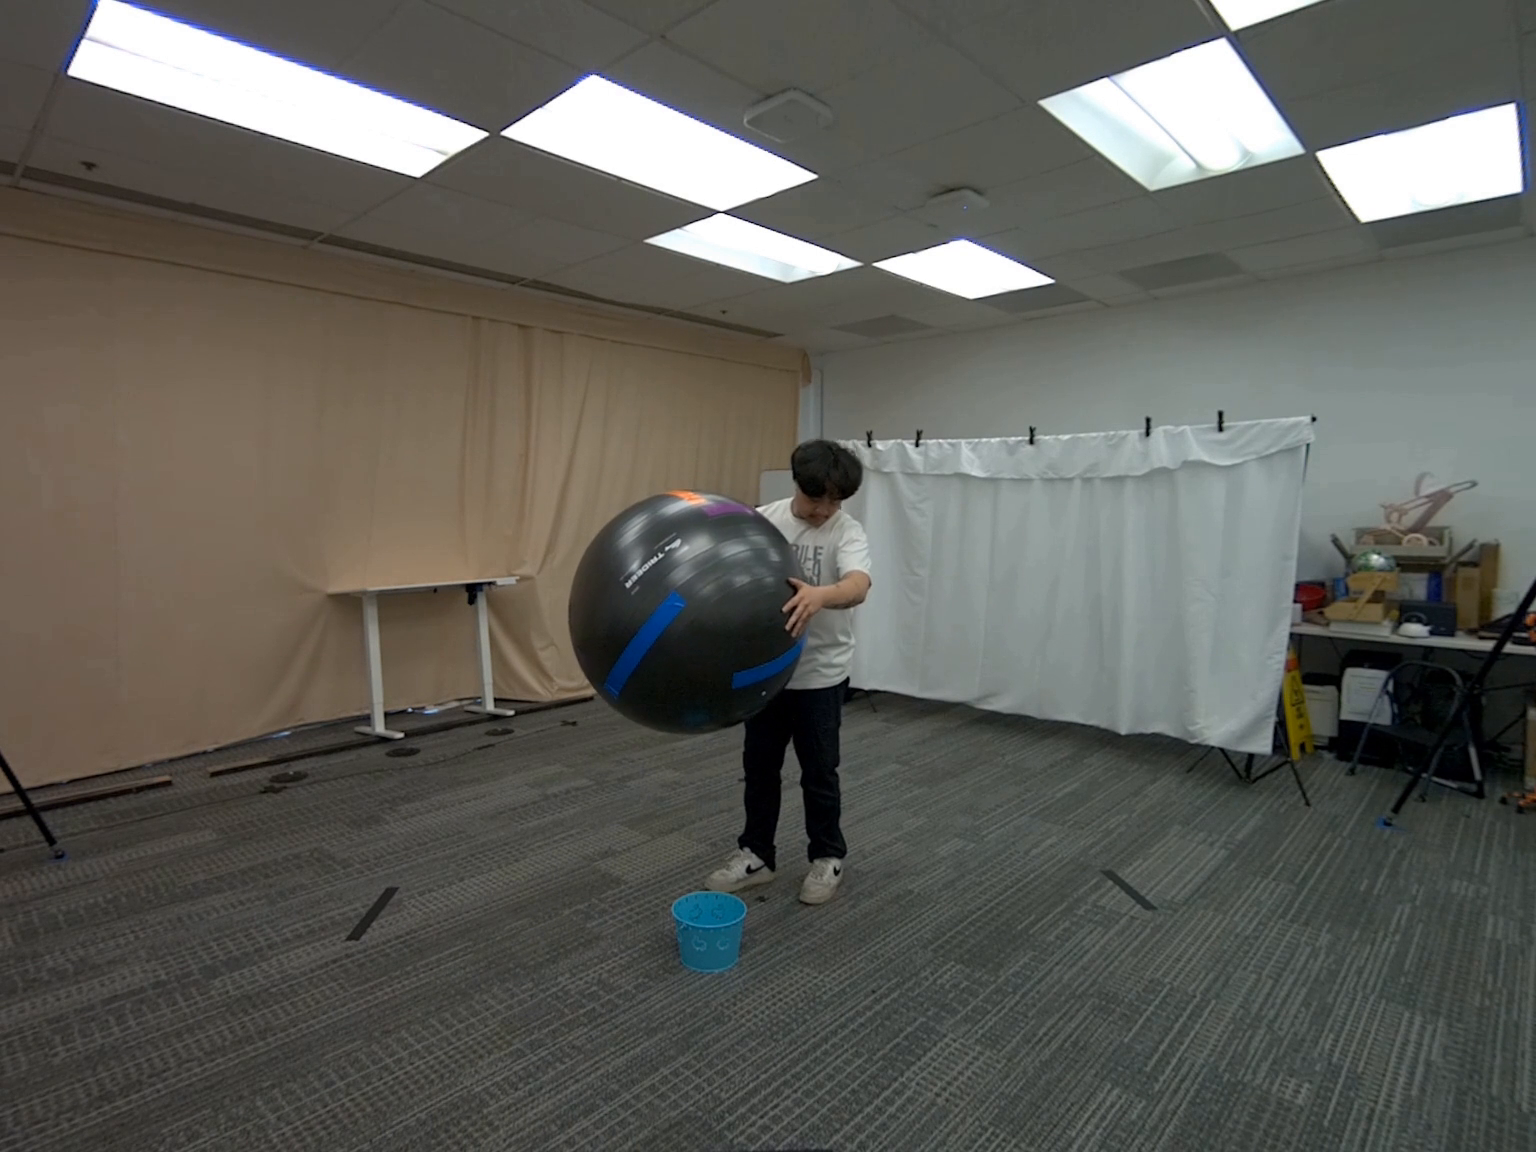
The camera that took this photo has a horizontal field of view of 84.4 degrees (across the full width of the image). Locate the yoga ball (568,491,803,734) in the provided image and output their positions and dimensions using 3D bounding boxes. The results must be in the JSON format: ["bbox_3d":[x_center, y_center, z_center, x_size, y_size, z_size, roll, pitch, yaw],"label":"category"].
[{"bbox_3d":[-0.259,0.114,2.643,0.757,0.756,0.760,0,4,-2],"label":"yoga ball"}]
